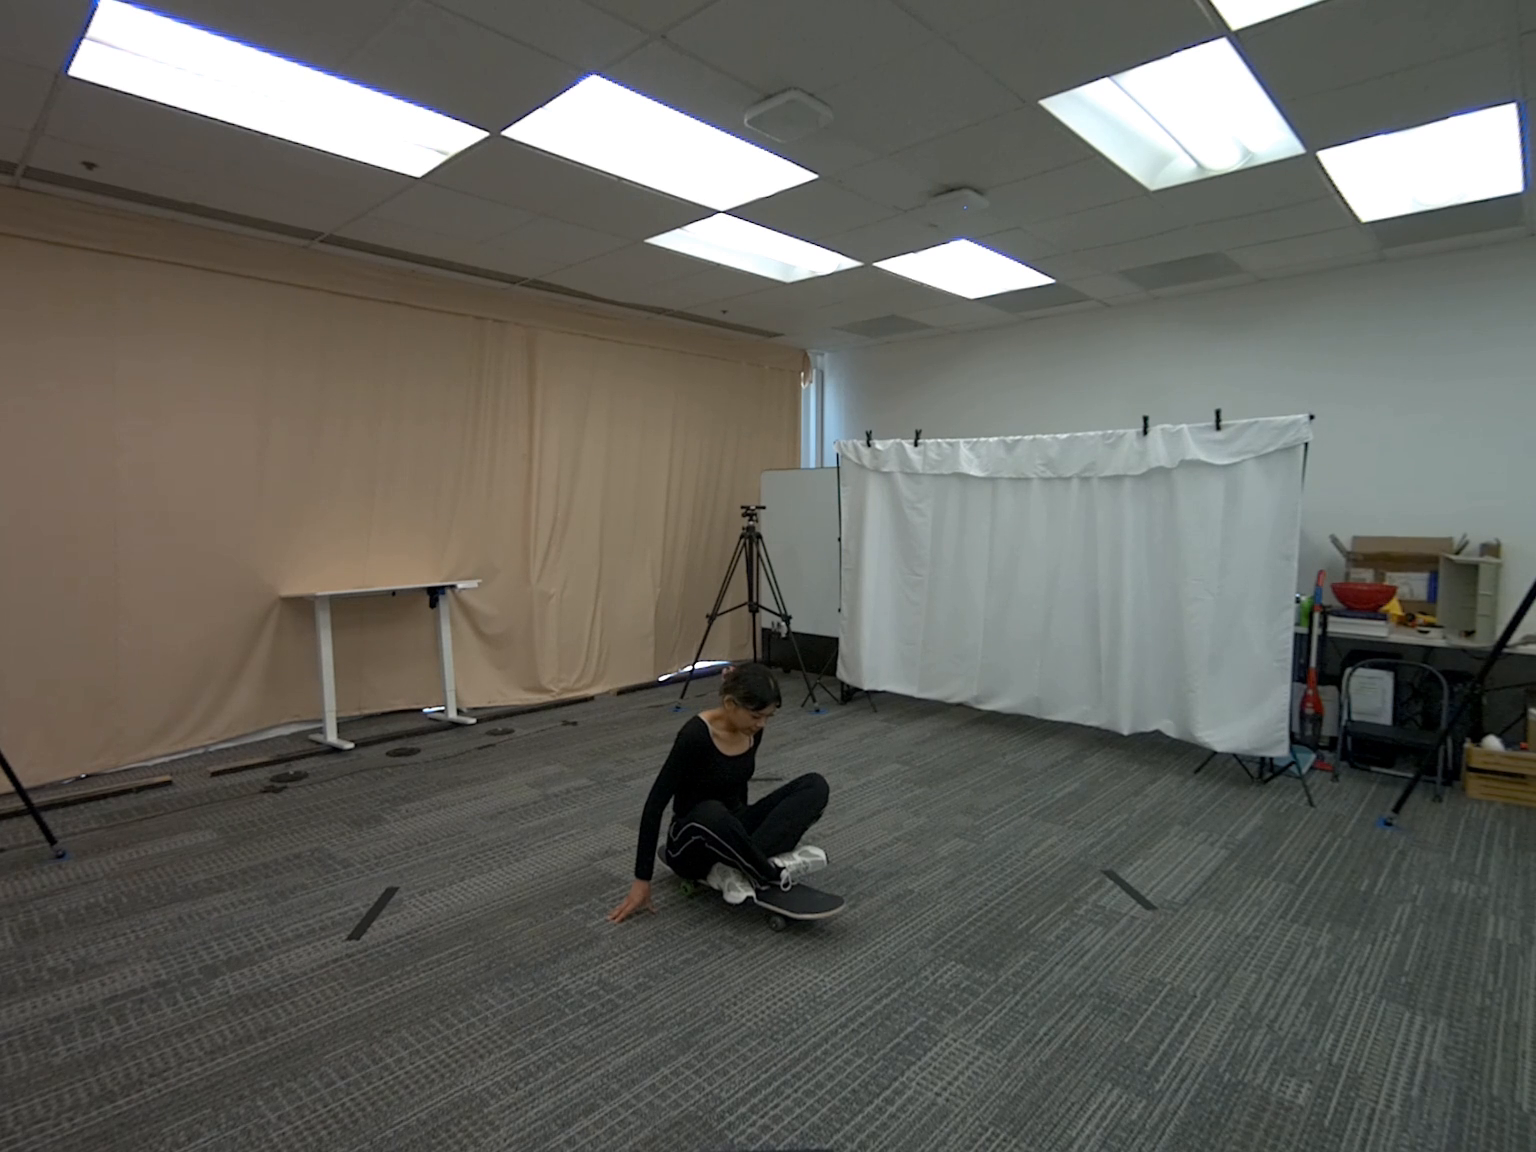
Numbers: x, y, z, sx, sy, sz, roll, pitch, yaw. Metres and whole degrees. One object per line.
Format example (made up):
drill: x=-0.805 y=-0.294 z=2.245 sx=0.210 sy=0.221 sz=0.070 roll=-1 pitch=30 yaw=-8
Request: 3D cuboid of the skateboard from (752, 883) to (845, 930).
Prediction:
skateboard: x=-0.072 y=1.084 z=2.955 sx=0.810 sy=0.110 sz=0.188 roll=1 pitch=6 yaw=37
